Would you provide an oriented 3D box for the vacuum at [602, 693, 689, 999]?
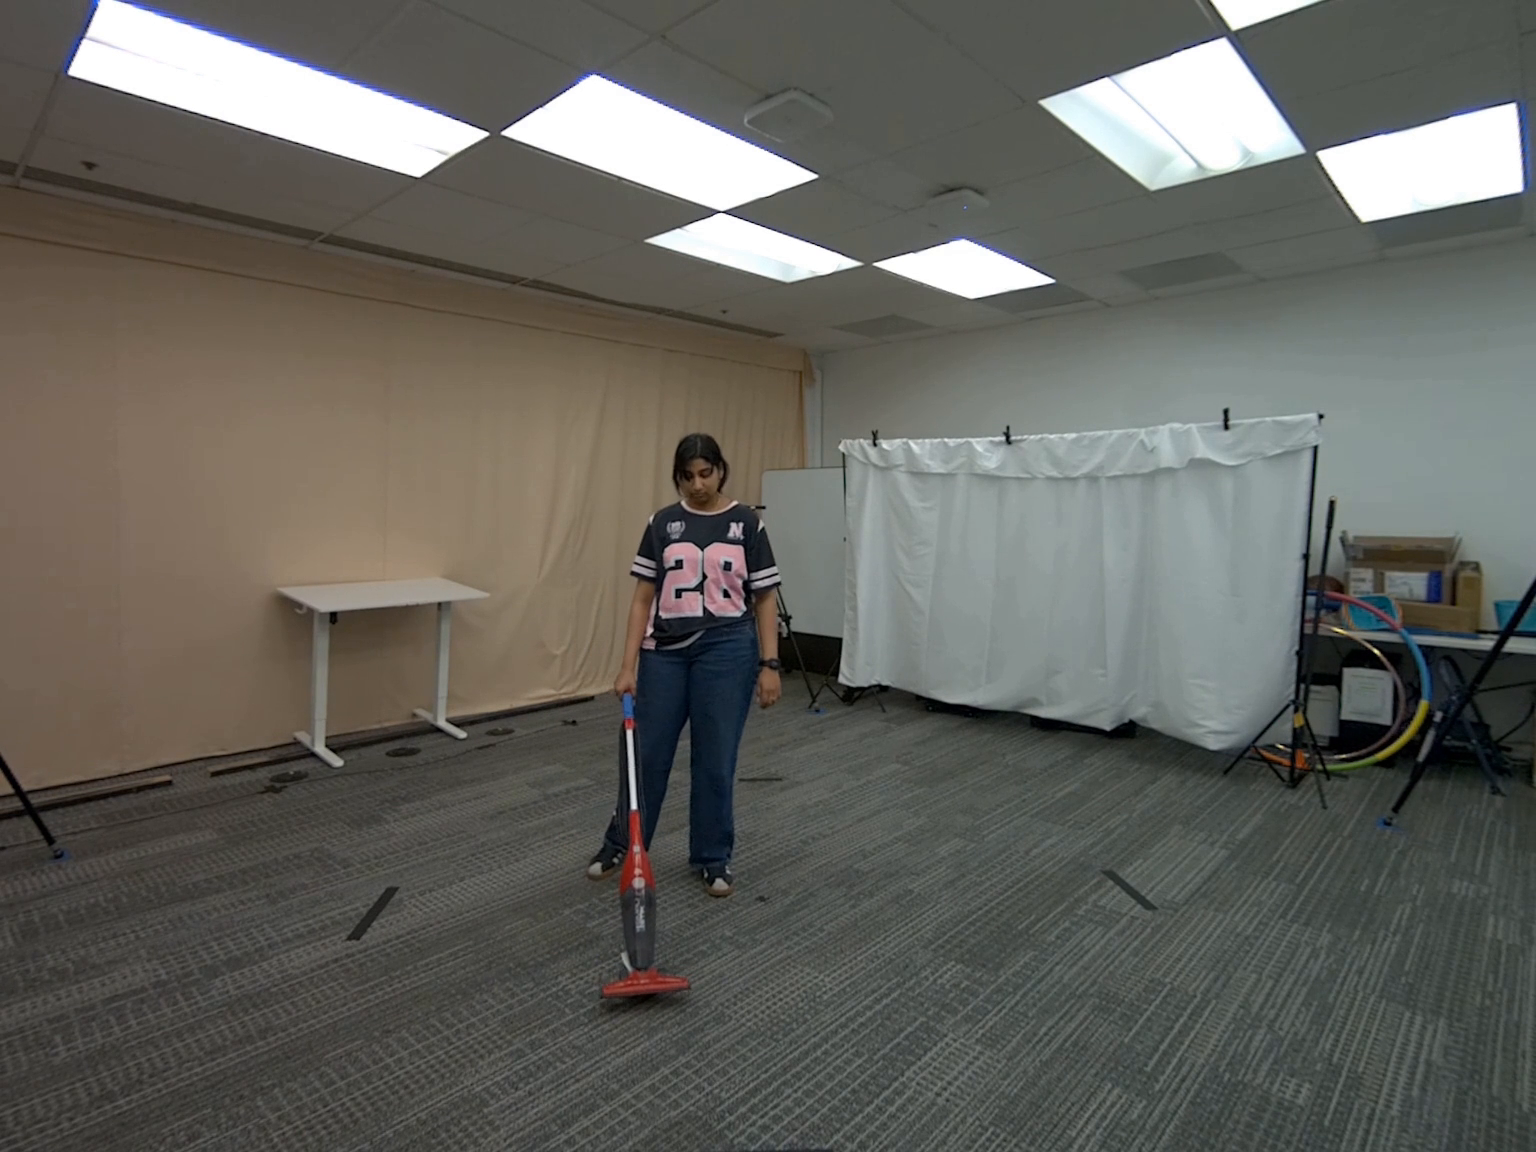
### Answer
[{"bbox_3d":[-0.434,0.782,2.727,0.249,0.142,1.075,1,46,-14],"label":"vacuum"}]
